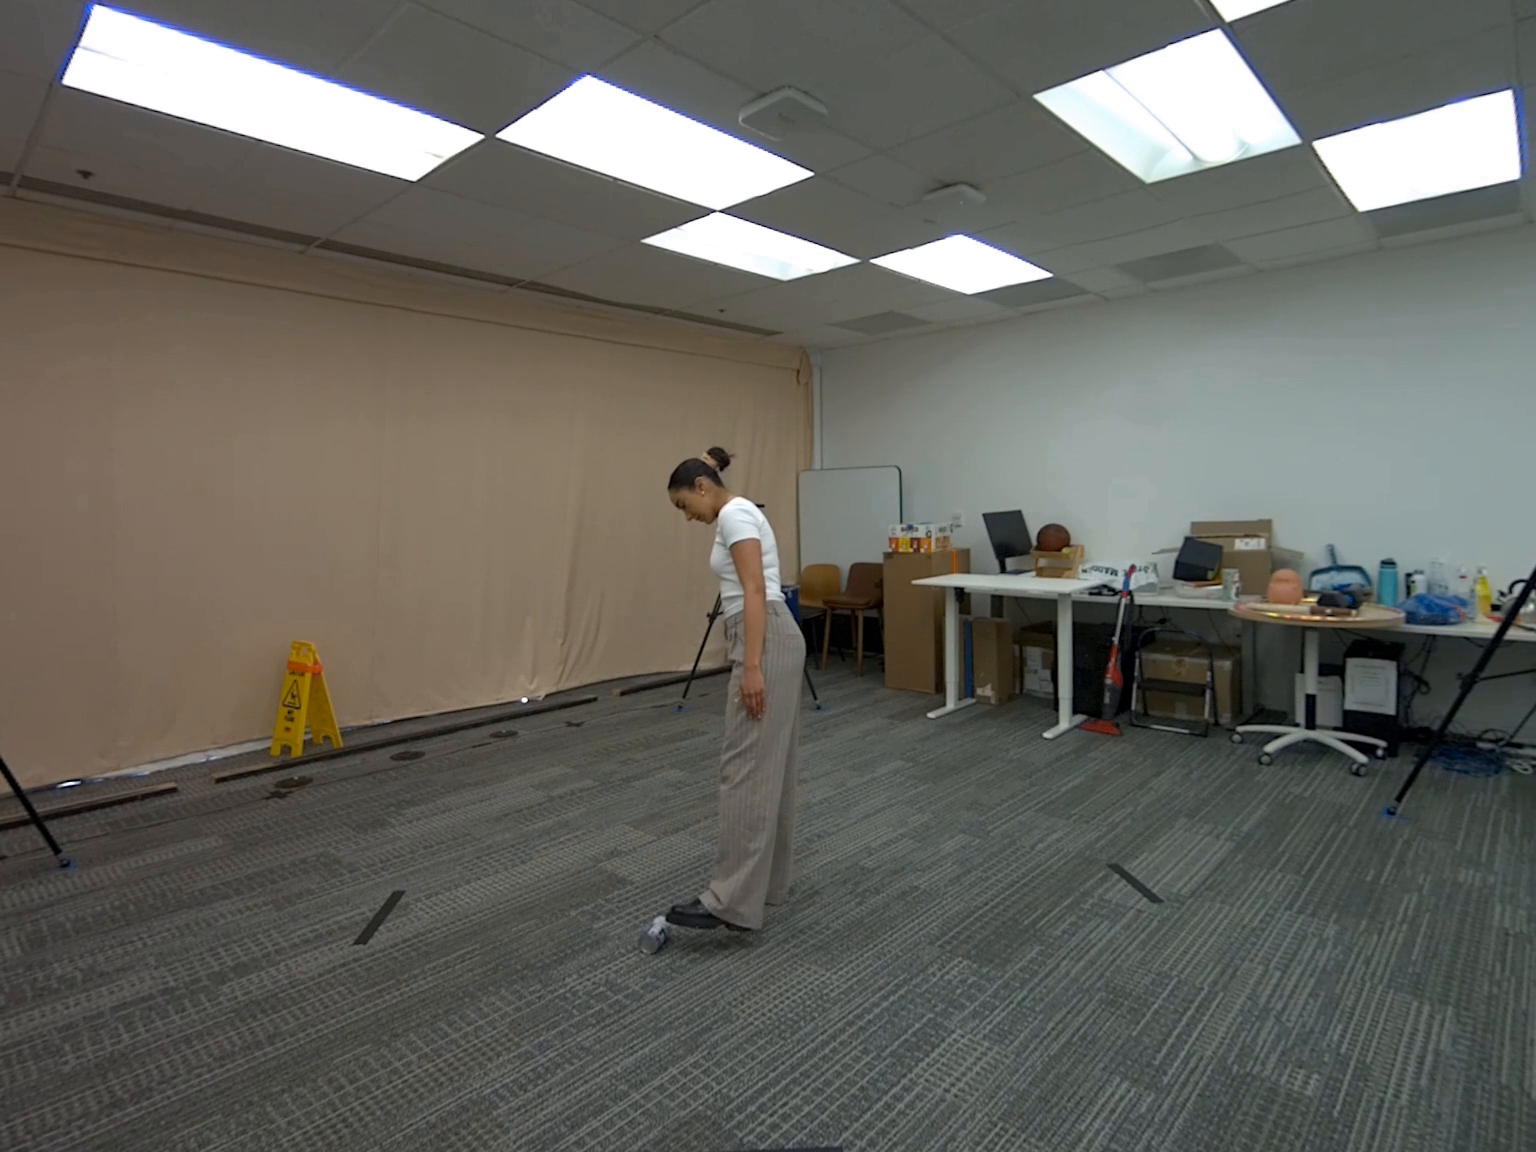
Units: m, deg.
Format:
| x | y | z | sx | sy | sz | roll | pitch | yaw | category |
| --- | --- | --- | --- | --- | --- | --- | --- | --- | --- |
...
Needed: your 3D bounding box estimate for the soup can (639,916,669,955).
| x | y | z | sx | sy | sz | roll | pitch | yaw | category |
| --- | --- | --- | --- | --- | --- | --- | --- | --- | --- |
| -0.354 | 1.139 | 2.680 | 0.068 | 0.067 | 0.120 | 0 | 4 | 14 | soup can |
